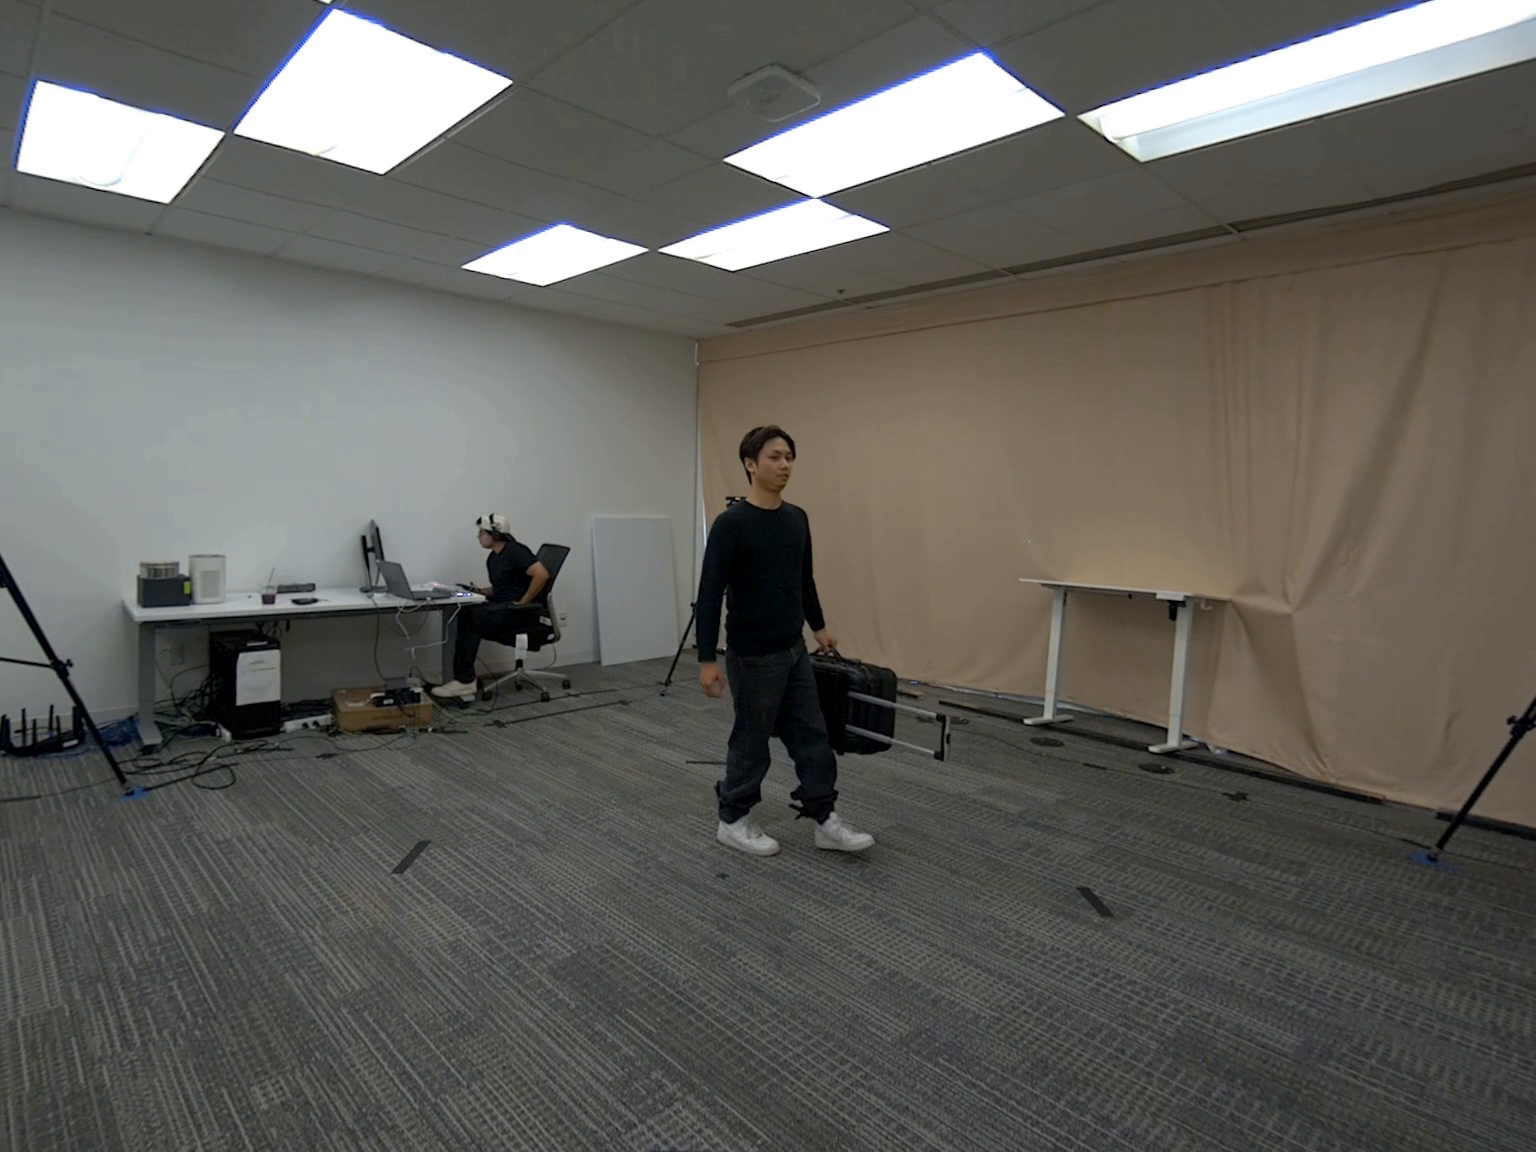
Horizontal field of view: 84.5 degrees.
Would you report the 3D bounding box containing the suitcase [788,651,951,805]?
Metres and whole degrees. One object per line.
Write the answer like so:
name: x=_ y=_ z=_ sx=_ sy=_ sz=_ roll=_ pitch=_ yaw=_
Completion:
suitcase: x=0.392 y=0.539 z=3.355 sx=0.251 sy=0.384 sz=1.002 roll=5 pitch=0 yaw=-37
